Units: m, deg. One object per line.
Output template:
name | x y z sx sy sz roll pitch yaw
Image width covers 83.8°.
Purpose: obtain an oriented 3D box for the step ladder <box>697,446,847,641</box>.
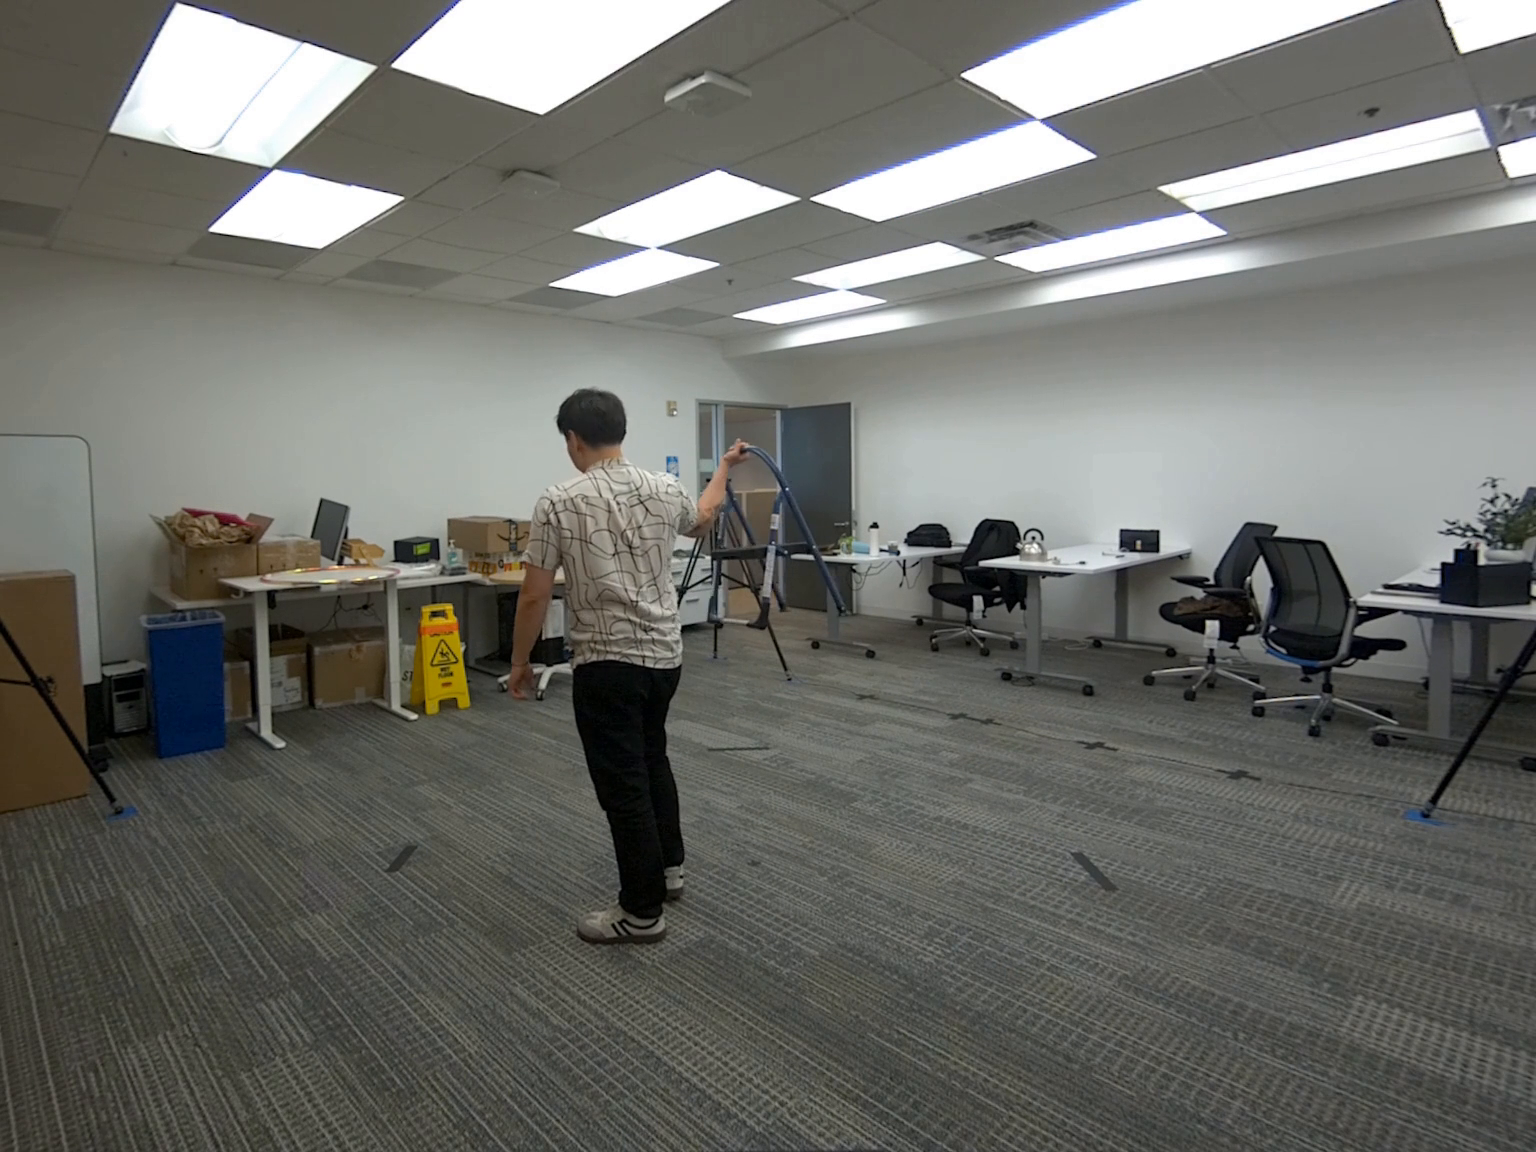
step ladder | -0.018 -0.143 2.985 0.342 0.606 0.440 -7 1 -28
